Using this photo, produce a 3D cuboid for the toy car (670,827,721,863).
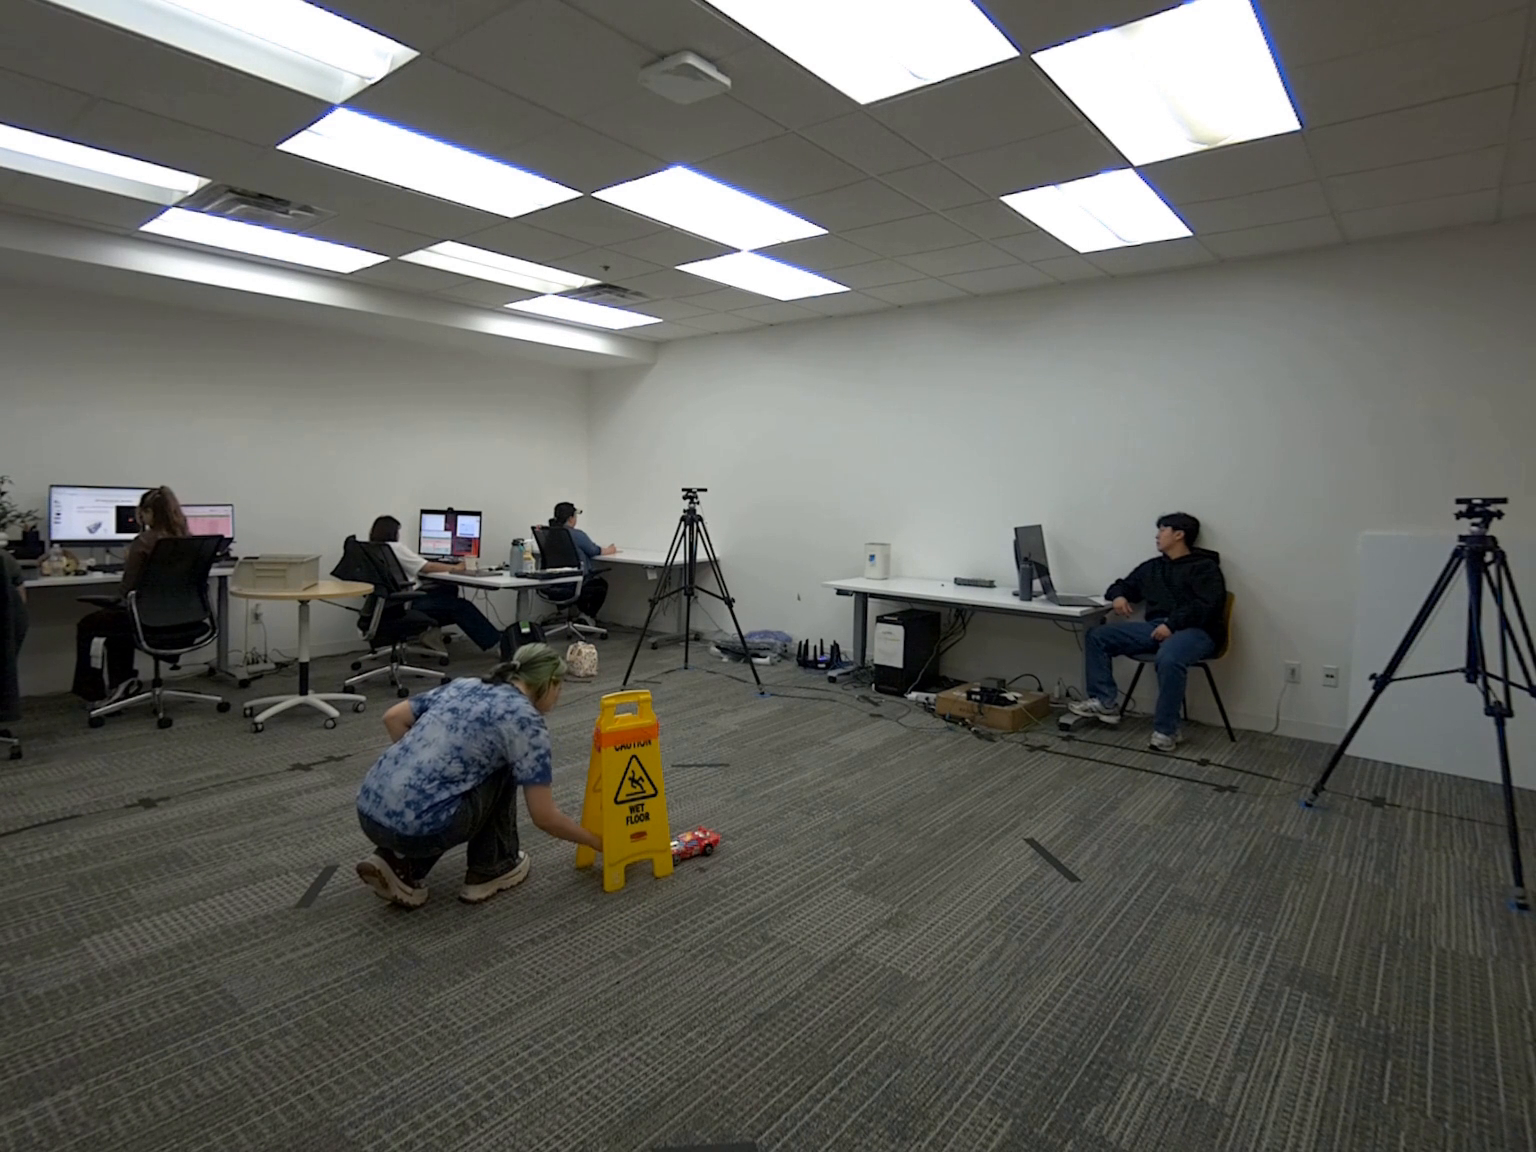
[{"bbox_3d":[-0.307,1.030,3.237,0.250,0.082,0.135,-19,16,-31],"label":"toy car"}]
